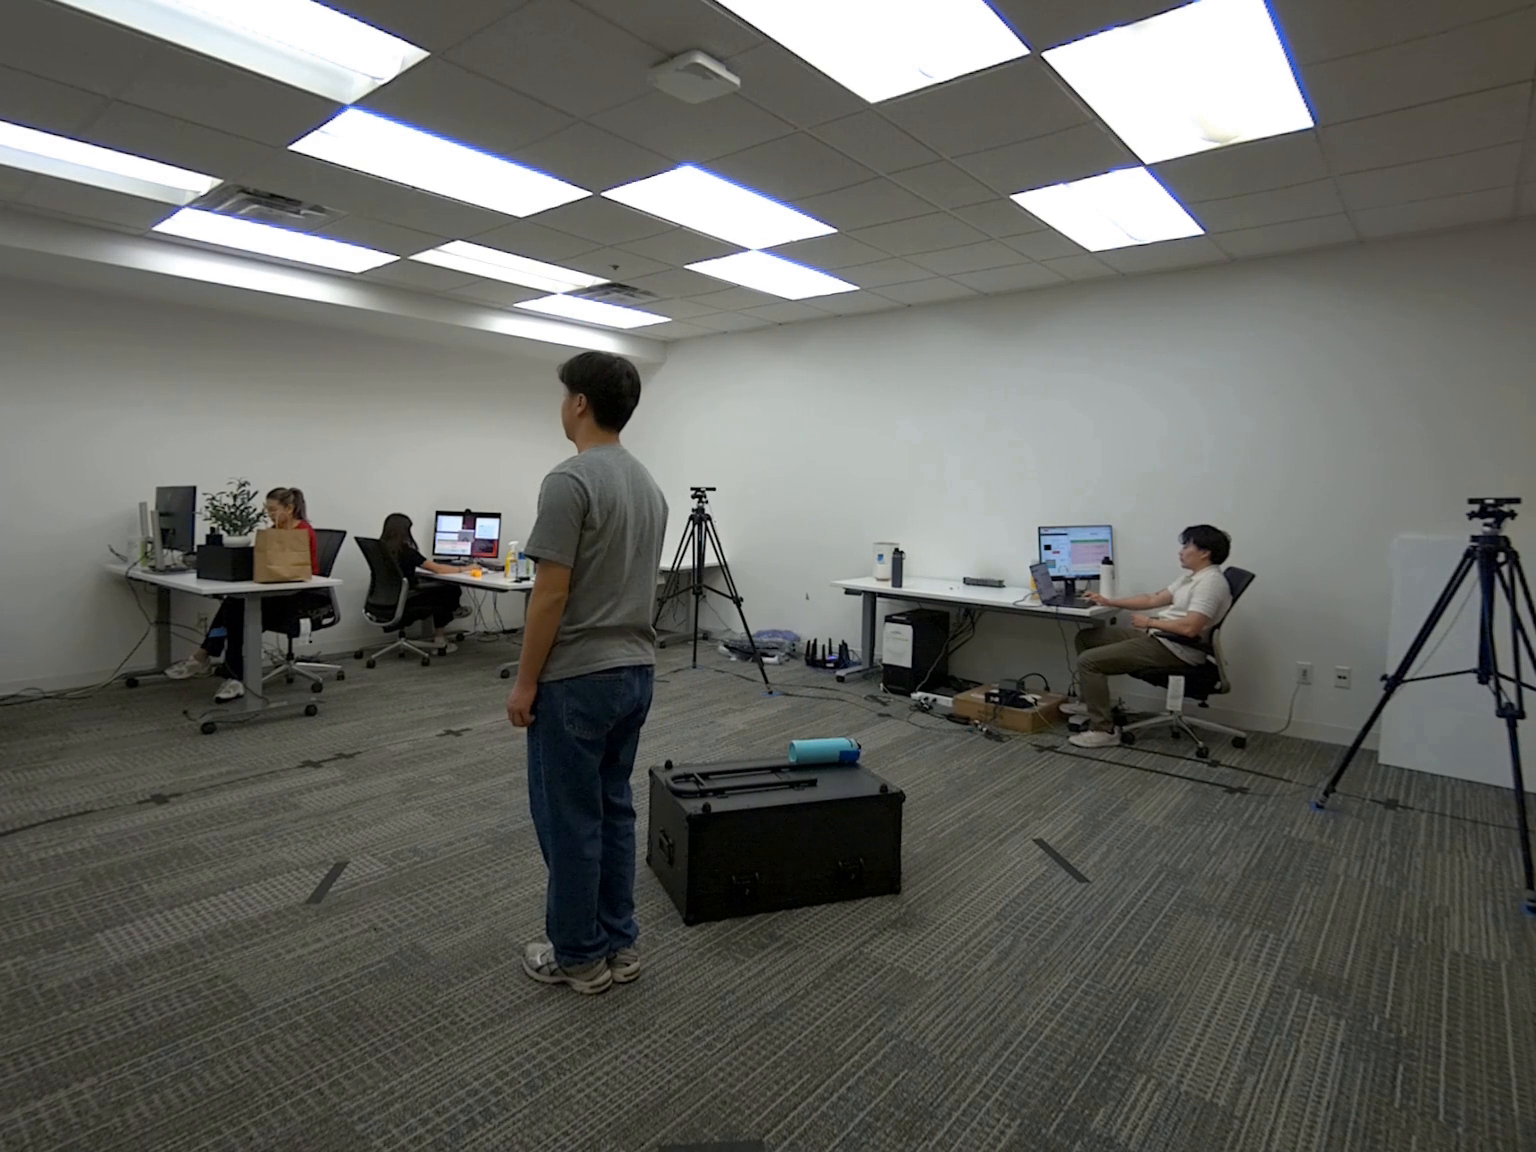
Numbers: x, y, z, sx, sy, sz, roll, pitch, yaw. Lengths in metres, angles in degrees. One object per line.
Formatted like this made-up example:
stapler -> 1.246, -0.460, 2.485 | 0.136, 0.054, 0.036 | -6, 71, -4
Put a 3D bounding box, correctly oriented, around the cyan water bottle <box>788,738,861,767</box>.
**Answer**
cyan water bottle -> 0.214, 0.658, 3.222 | 0.278, 0.092, 0.094 | 1, 4, -16
